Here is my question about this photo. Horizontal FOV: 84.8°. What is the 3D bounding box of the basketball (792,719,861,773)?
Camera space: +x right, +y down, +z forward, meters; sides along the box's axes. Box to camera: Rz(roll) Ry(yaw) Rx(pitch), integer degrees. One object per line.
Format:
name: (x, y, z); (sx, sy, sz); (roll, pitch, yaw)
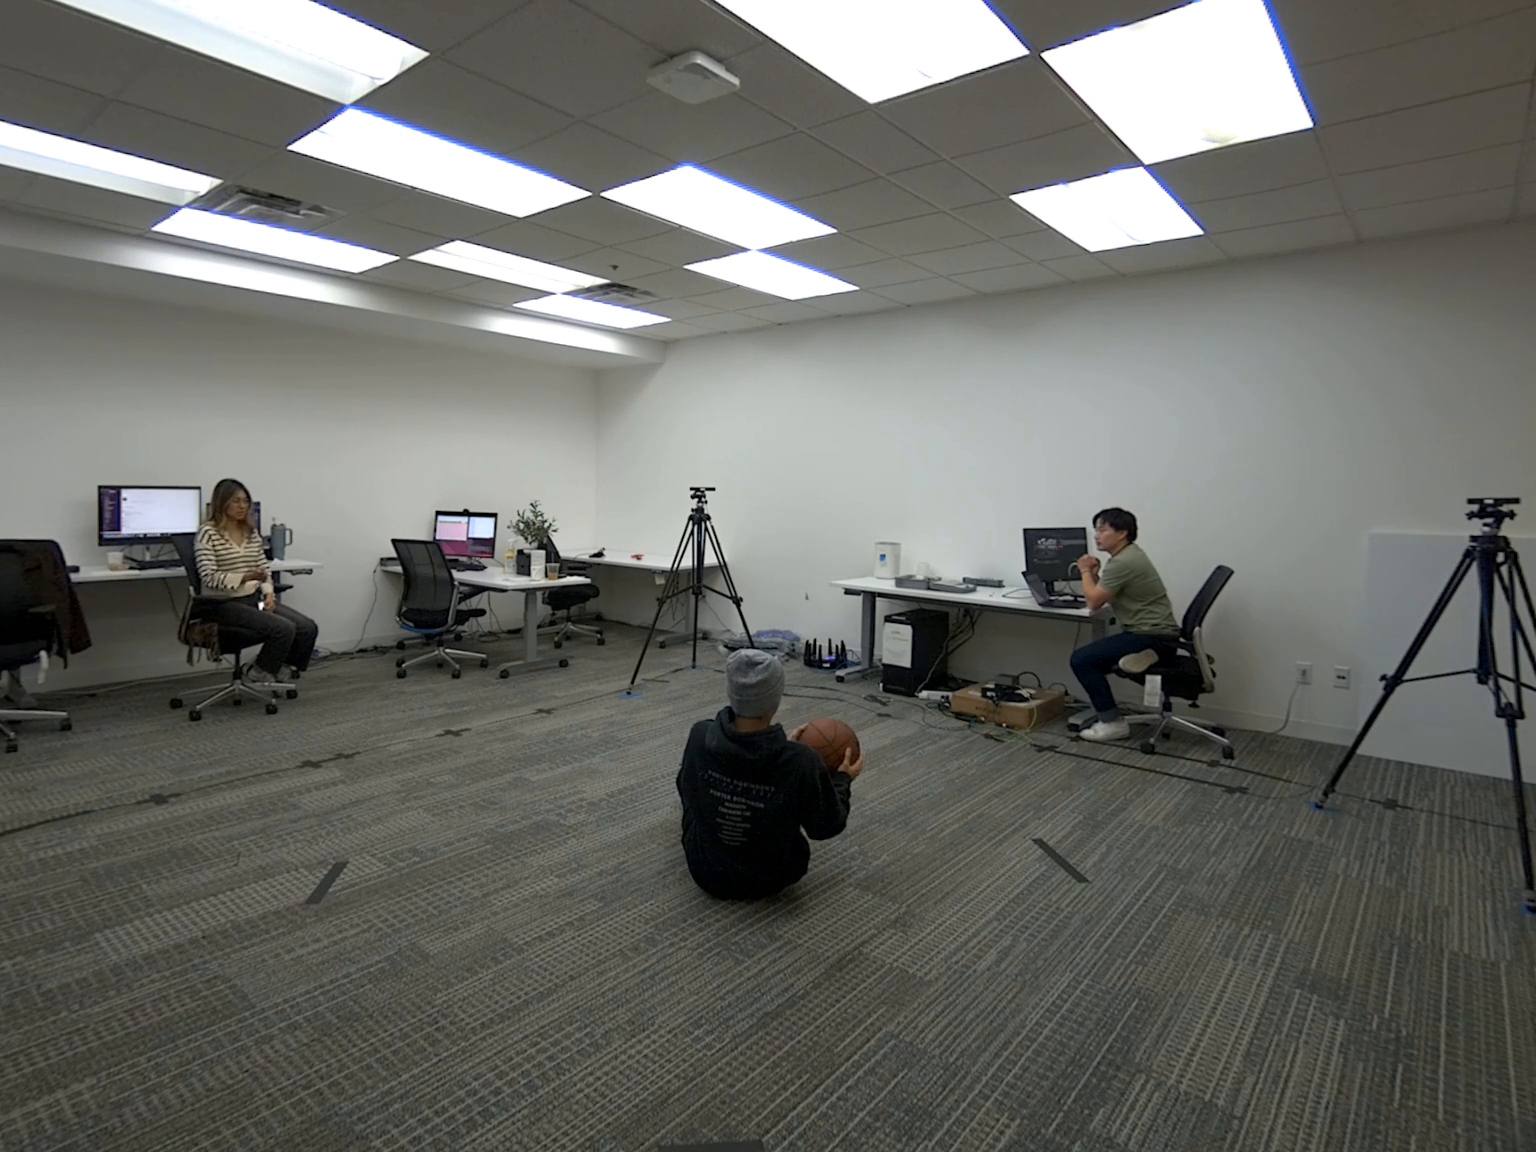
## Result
basketball: (0.209, 0.645, 3.156); (0.235, 0.235, 0.237); (1, 4, -2)
